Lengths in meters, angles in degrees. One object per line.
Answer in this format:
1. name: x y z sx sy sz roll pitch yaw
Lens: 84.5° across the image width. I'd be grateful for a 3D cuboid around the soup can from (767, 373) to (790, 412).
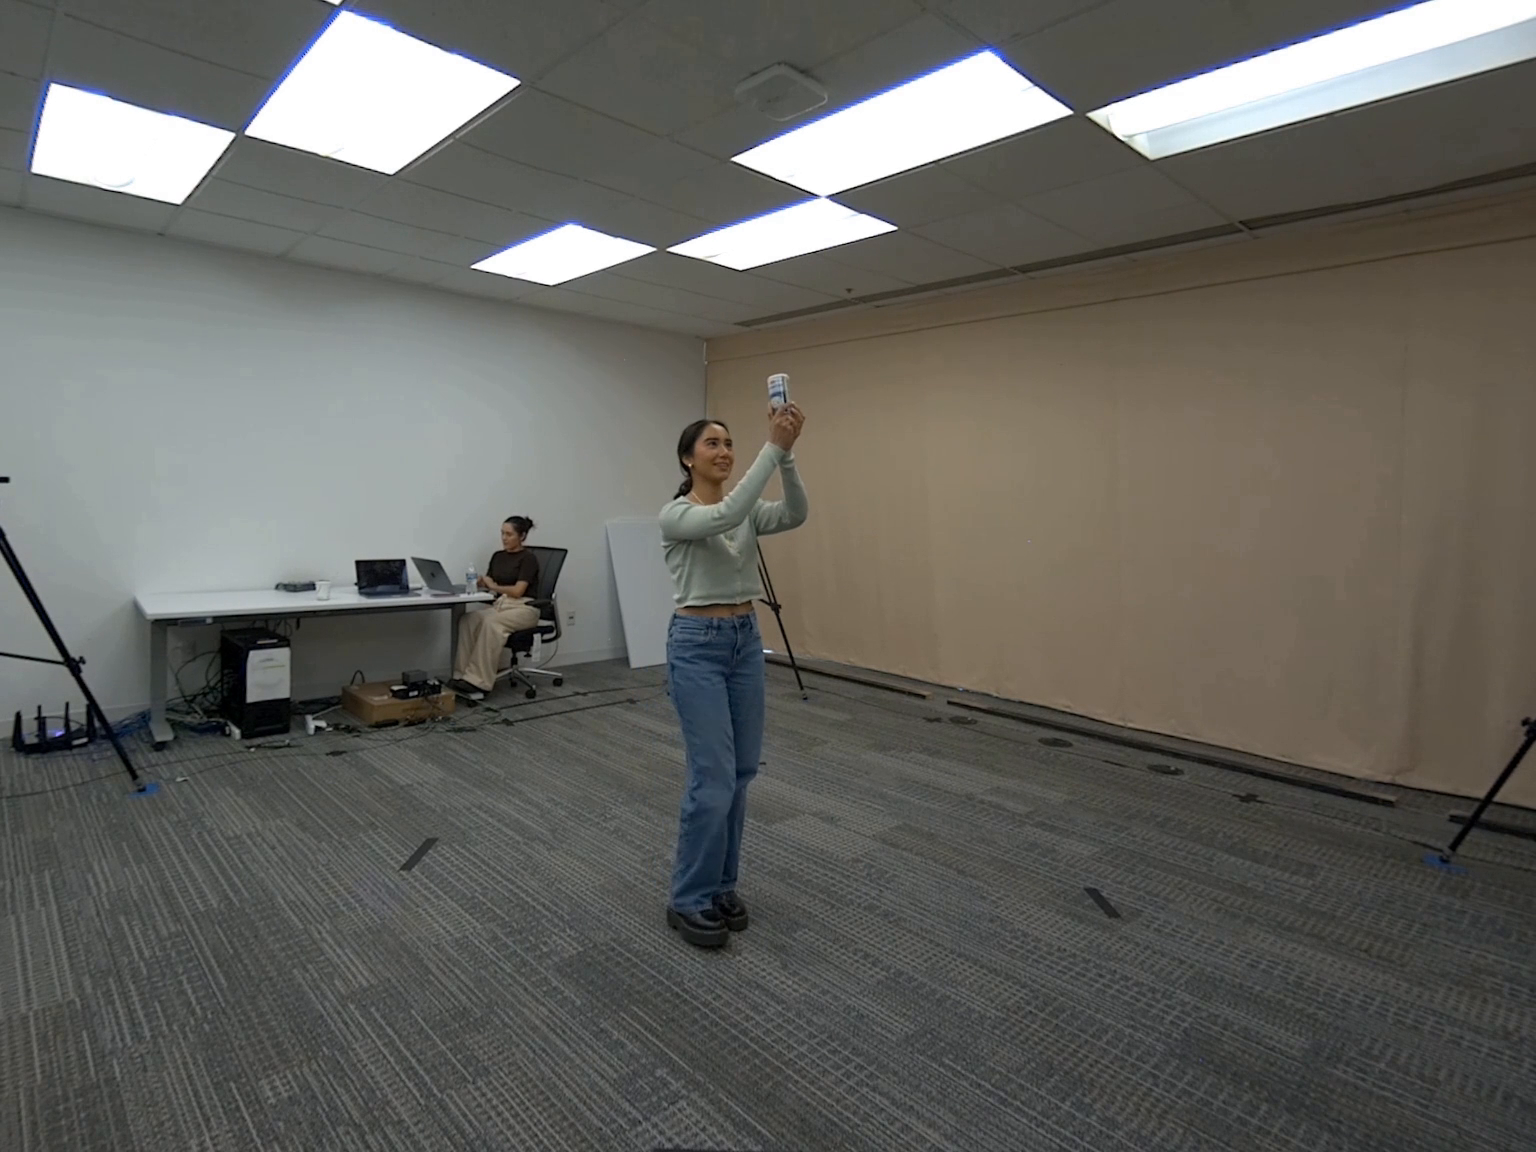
1. soup can: 0.037 -0.533 2.509 0.067 0.122 0.067 -7 -1 -1
